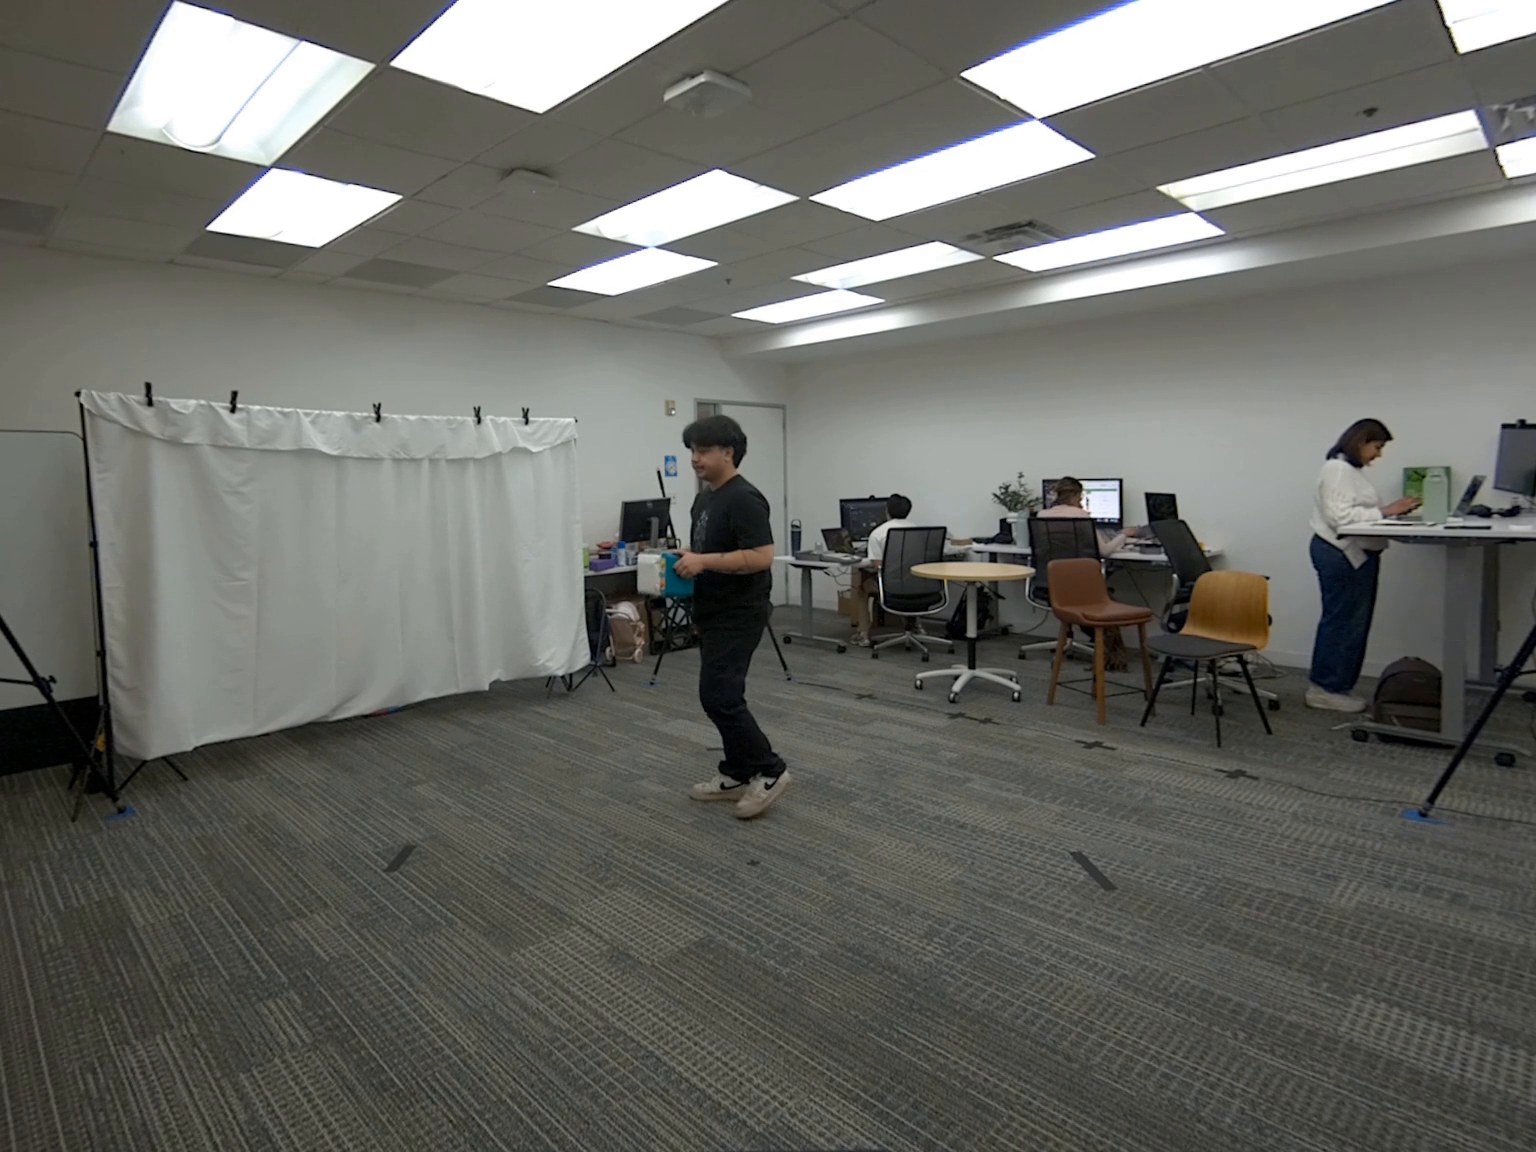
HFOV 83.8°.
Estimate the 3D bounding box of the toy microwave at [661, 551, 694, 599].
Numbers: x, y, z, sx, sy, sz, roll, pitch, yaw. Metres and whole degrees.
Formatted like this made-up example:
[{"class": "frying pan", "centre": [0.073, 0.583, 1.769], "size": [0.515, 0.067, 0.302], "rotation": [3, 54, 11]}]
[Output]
[{"class": "toy microwave", "centre": [-0.430, -0.011, 3.534], "size": [0.148, 0.184, 0.294], "rotation": [1, 1, -31]}]
